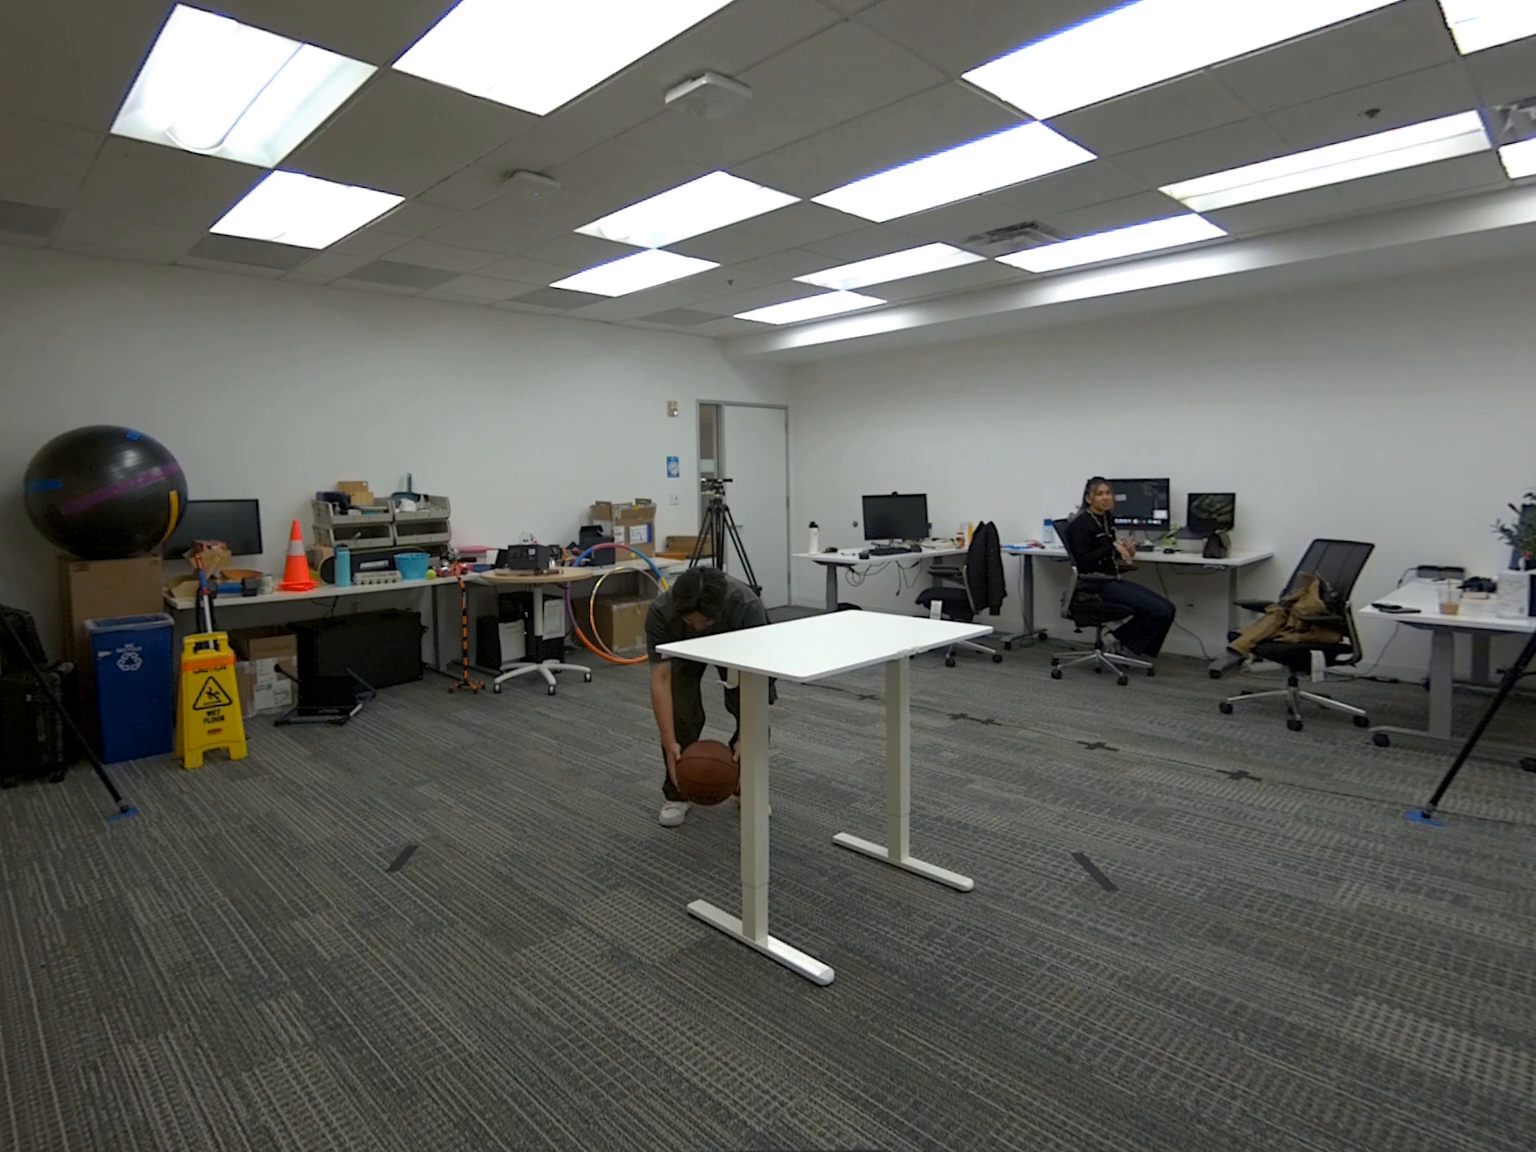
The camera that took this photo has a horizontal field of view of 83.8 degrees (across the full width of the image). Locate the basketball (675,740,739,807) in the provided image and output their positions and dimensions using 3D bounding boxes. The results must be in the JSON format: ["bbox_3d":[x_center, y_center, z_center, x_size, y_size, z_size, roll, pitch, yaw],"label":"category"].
[{"bbox_3d":[-0.220,0.738,3.195,0.236,0.235,0.237,-1,5,-2],"label":"basketball"}]
